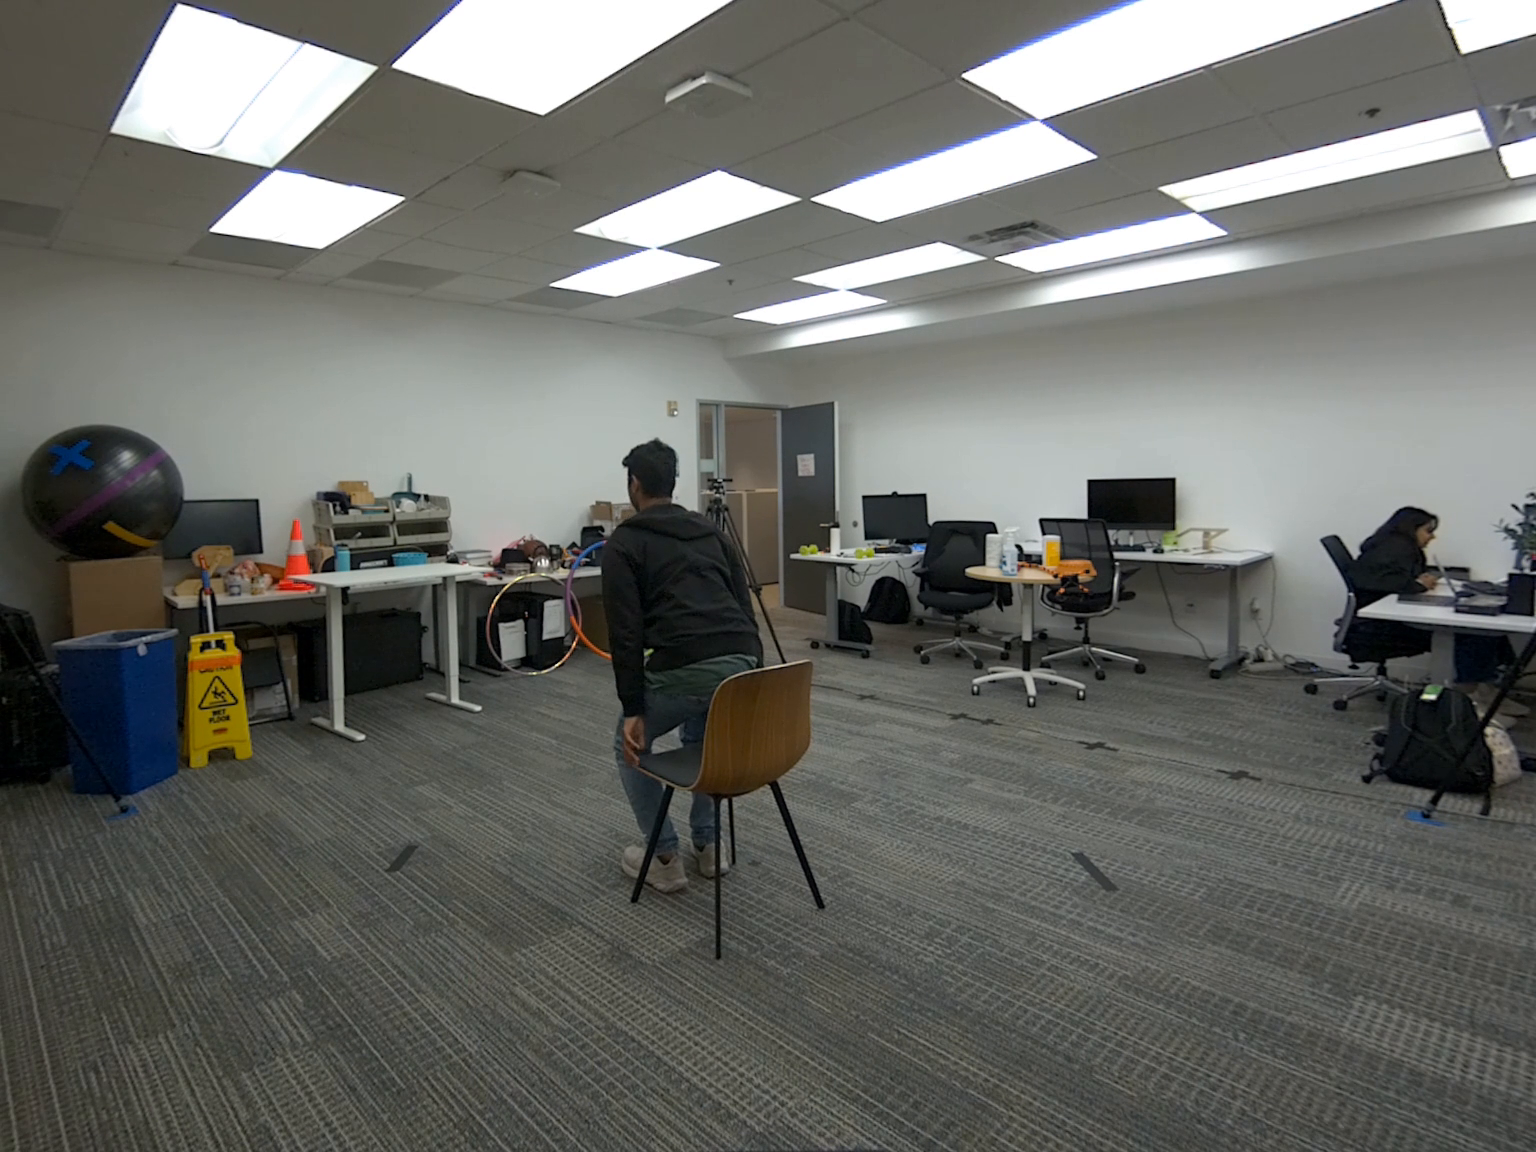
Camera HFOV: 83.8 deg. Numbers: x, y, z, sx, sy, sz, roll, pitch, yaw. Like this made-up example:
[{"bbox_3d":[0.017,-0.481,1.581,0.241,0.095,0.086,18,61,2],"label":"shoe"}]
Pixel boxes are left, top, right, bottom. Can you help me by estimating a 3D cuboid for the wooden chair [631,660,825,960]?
[{"bbox_3d":[-0.143,0.655,2.779,0.465,0.872,0.540,-5,10,-41],"label":"wooden chair"}]
